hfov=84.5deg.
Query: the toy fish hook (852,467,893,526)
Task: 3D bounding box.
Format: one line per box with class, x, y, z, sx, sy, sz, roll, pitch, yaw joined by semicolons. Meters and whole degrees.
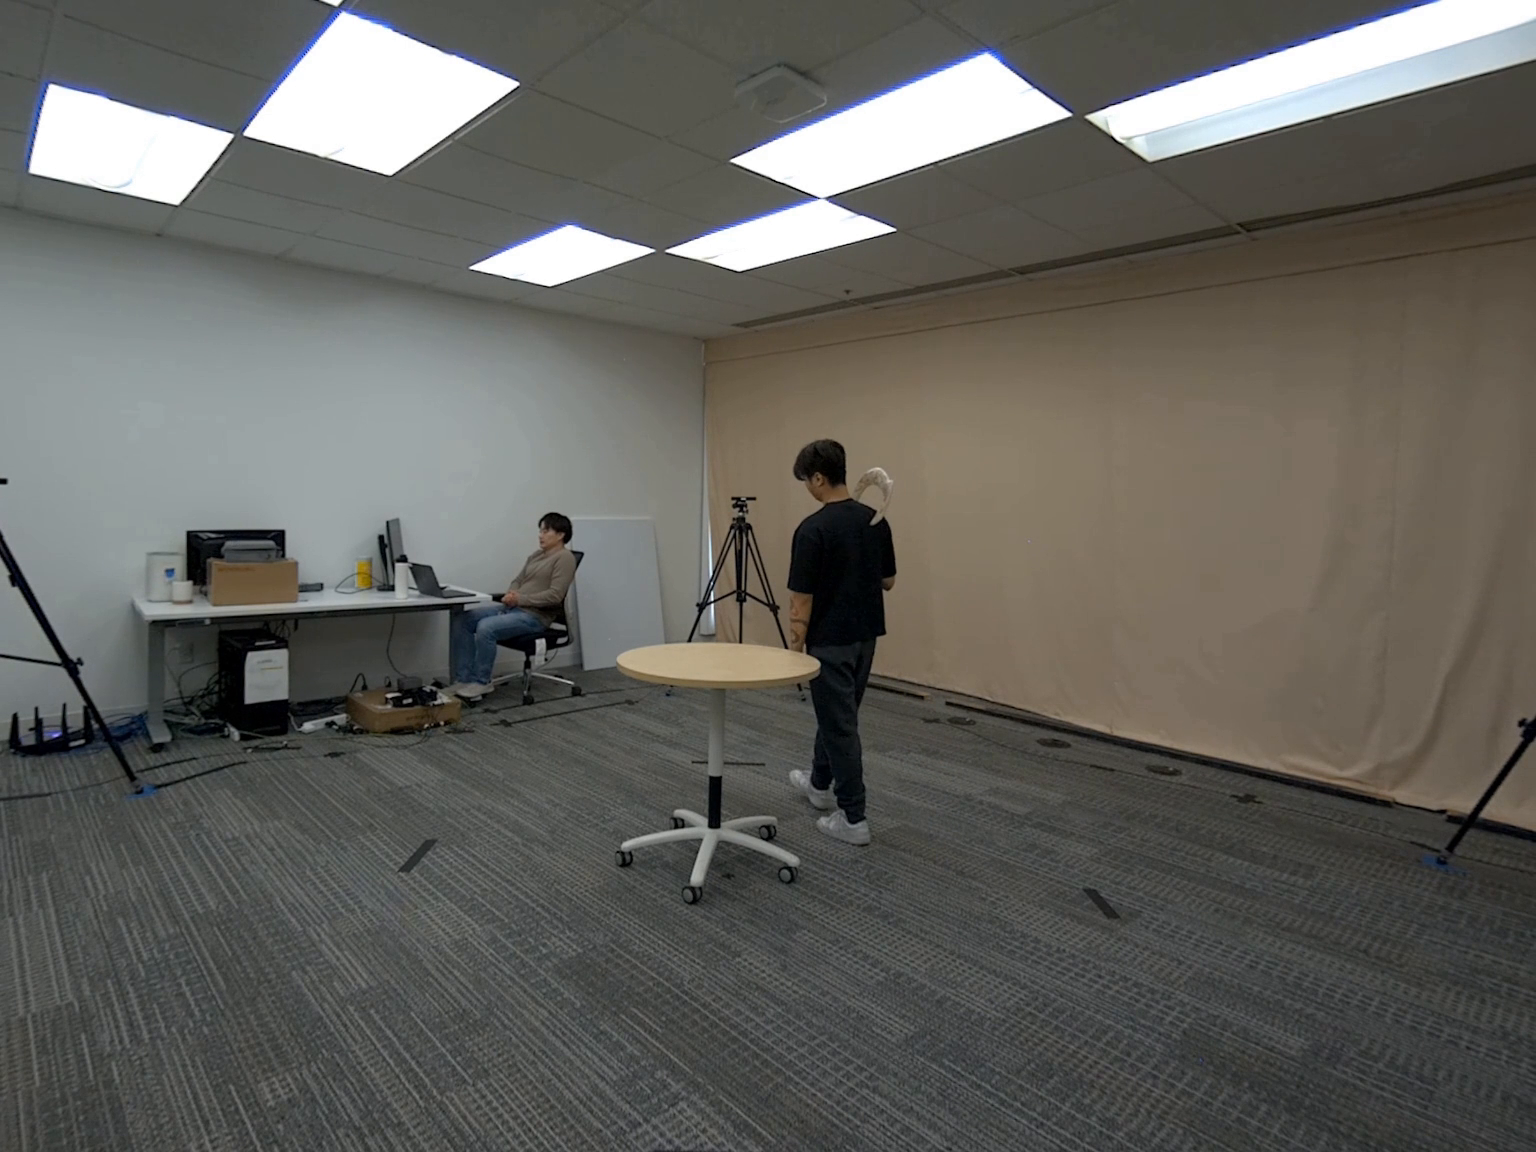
toy fish hook;0.362;-0.227;3.560;0.047;0.504;0.231;13;33;-32
